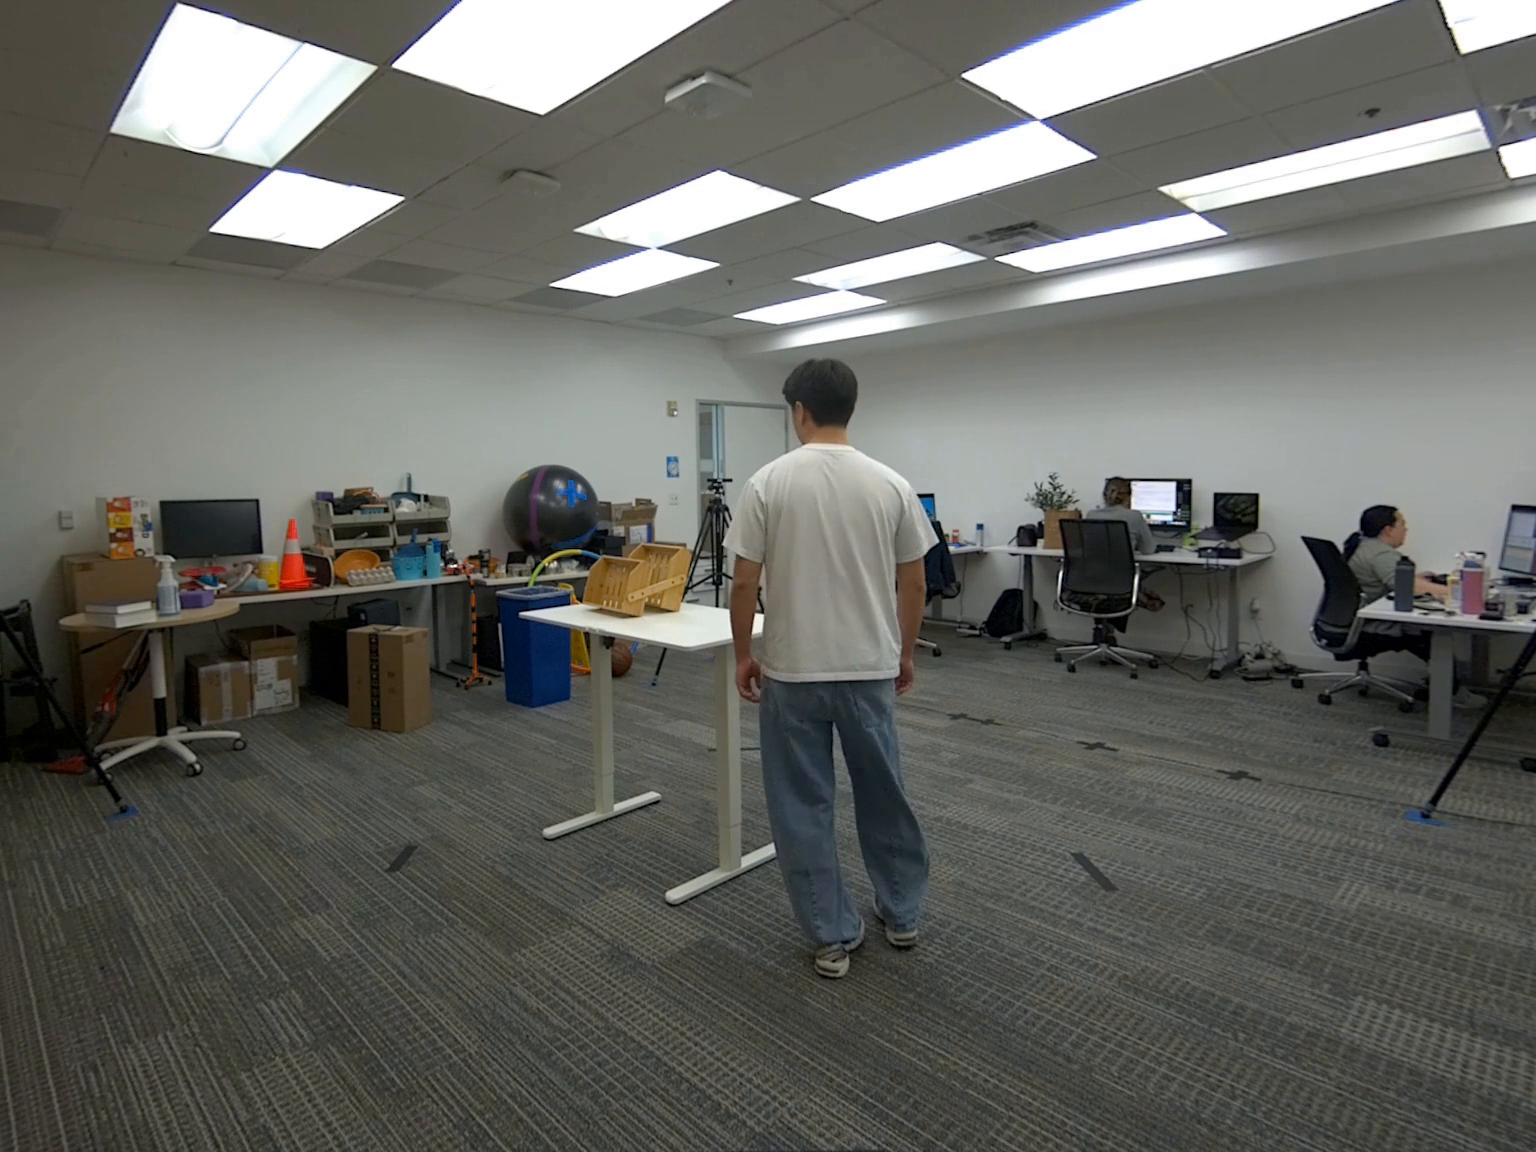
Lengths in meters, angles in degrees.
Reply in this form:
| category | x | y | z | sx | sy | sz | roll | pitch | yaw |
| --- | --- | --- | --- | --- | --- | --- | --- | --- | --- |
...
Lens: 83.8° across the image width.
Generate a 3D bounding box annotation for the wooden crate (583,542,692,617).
| category | x | y | z | sx | sy | sz | roll | pitch | yaw |
| --- | --- | --- | --- | --- | --- | --- | --- | --- | --- |
| wooden crate | -0.523 | 0.005 | 3.393 | 0.264 | 0.303 | 0.334 | 16 | -7 | -40 |
